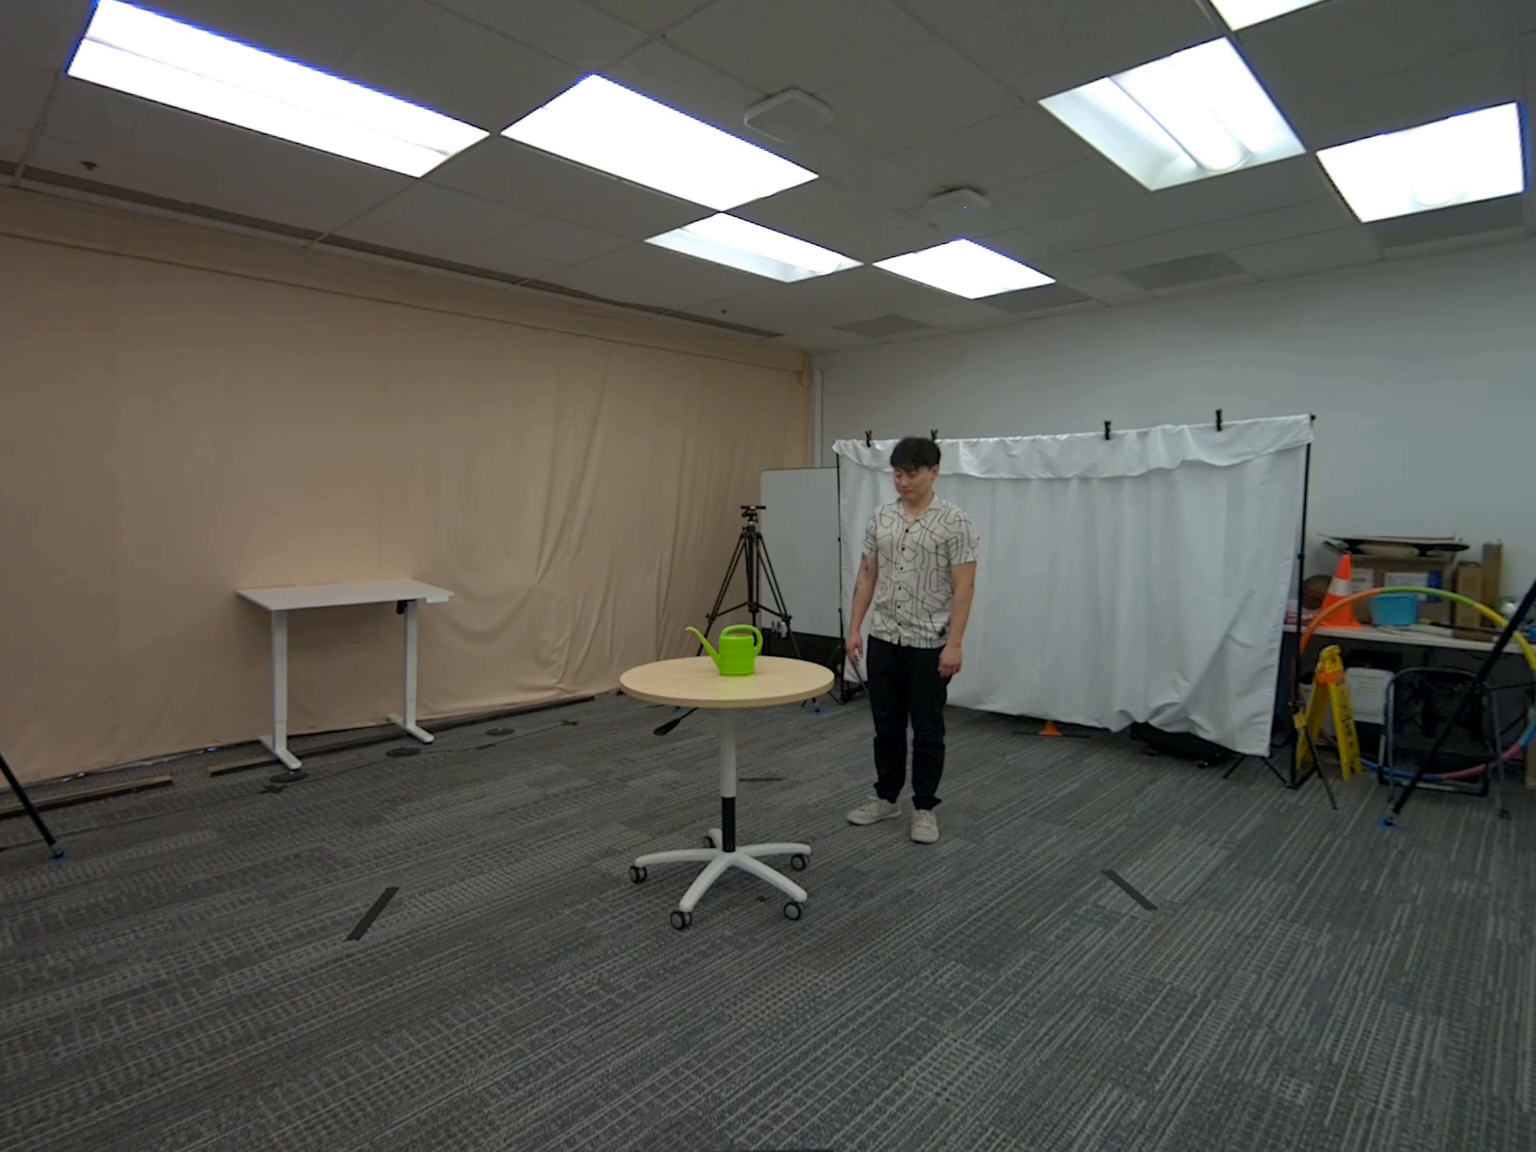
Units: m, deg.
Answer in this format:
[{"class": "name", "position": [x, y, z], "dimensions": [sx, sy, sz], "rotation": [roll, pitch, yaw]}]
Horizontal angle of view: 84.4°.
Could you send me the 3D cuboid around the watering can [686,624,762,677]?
[{"class": "watering can", "position": [-0.154, 0.274, 3.050], "dimensions": [0.278, 0.177, 0.098], "rotation": [-1, 0, 0]}]
